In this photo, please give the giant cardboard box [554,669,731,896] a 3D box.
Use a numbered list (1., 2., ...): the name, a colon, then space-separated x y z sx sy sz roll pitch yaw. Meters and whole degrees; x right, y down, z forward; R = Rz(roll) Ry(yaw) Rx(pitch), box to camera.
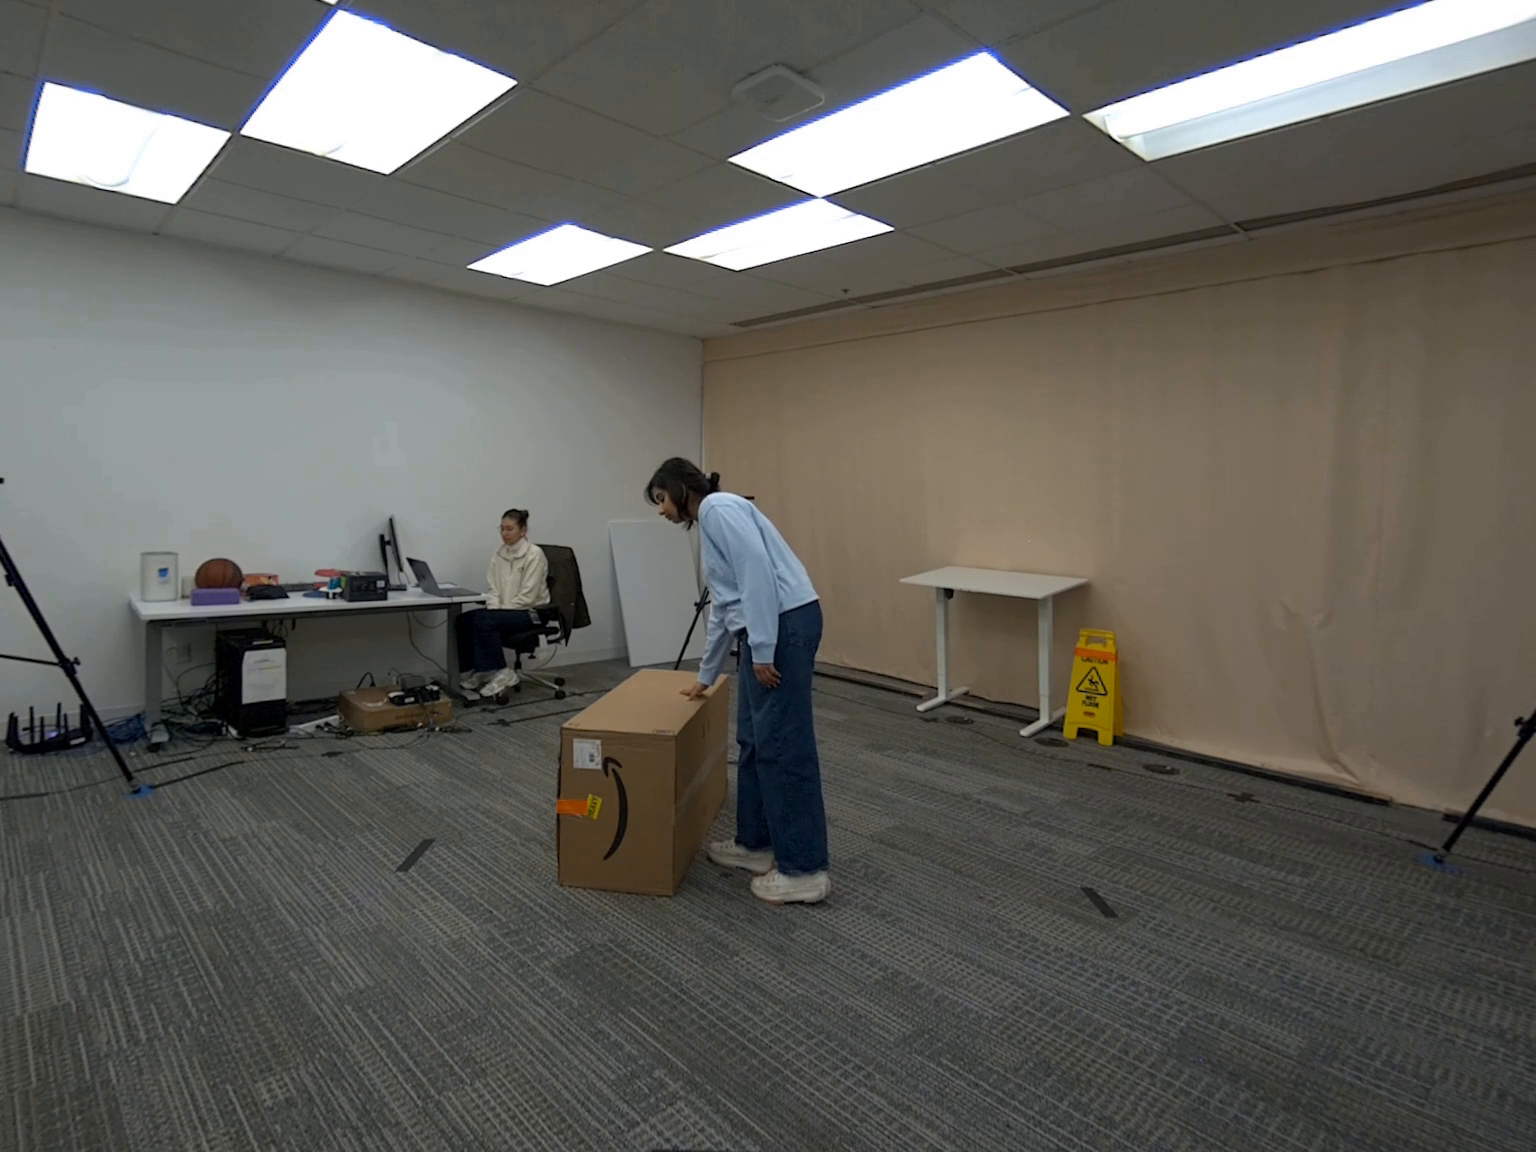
1. giant cardboard box: -0.472 0.773 3.451 0.429 0.575 1.021 1 5 8
